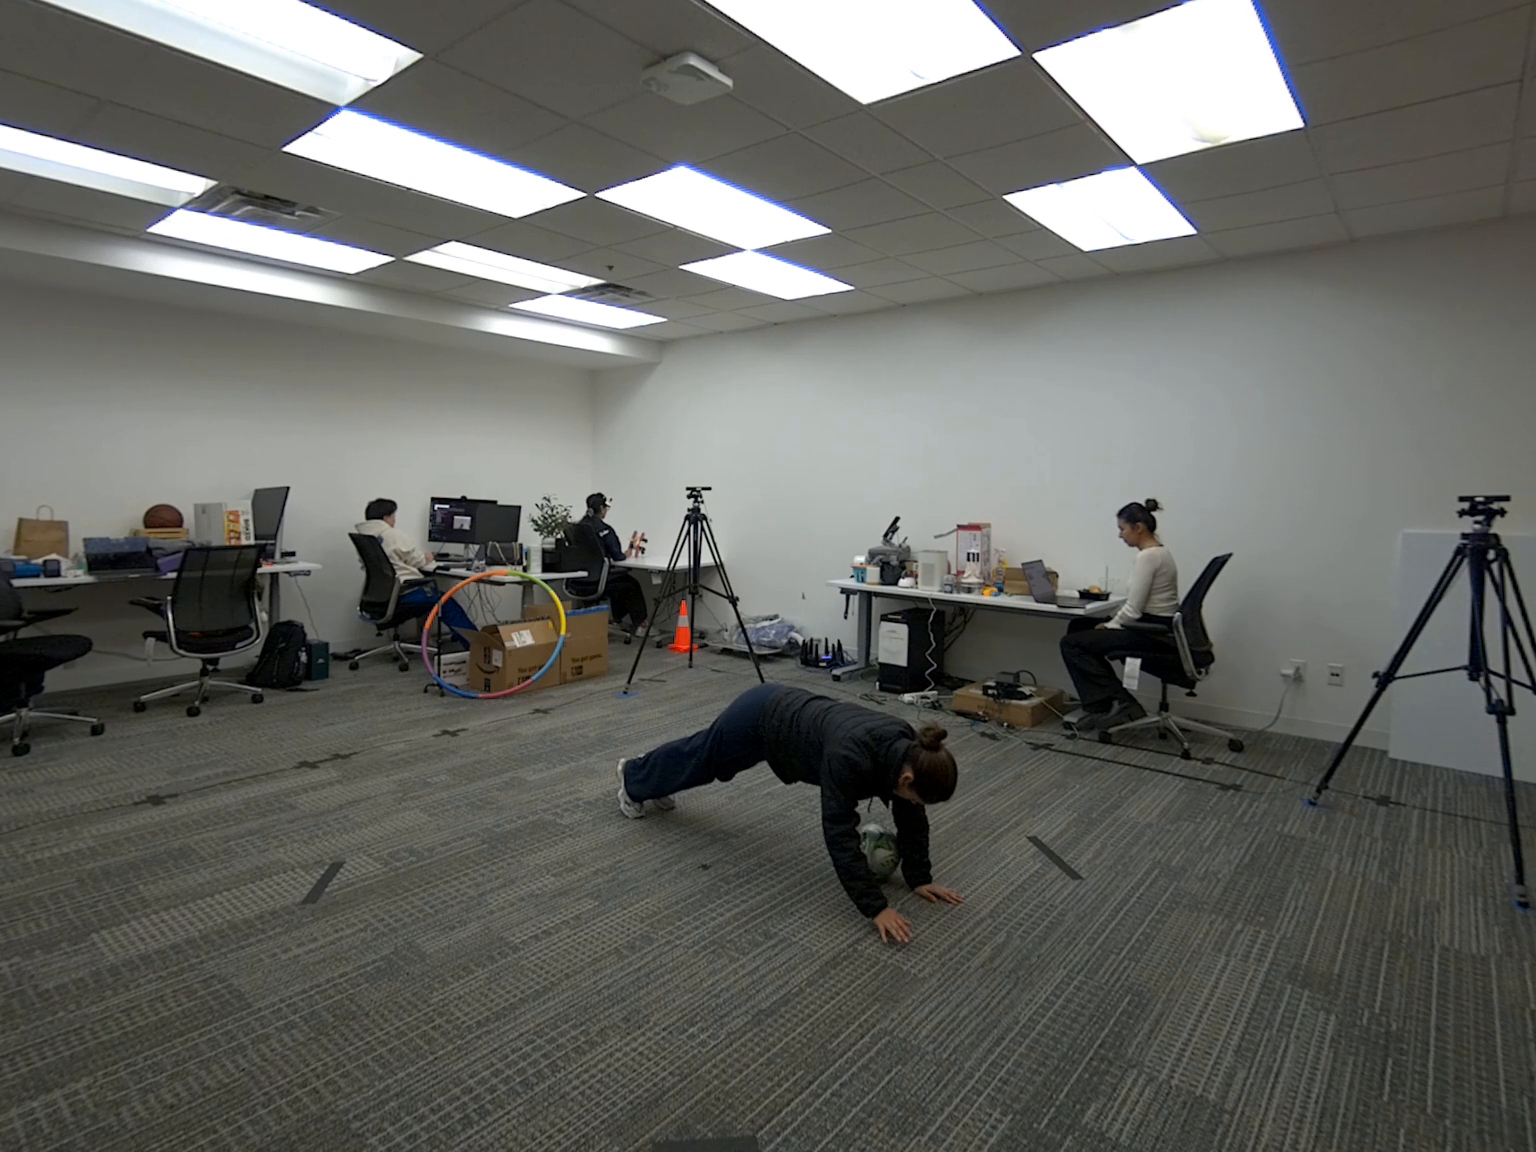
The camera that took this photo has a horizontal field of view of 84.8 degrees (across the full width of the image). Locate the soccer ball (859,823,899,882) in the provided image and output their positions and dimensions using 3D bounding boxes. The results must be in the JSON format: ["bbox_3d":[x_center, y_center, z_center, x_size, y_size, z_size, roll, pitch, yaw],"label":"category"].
[{"bbox_3d":[0.380,0.993,3.068,0.187,0.187,0.188,1,4,-2],"label":"soccer ball"}]
